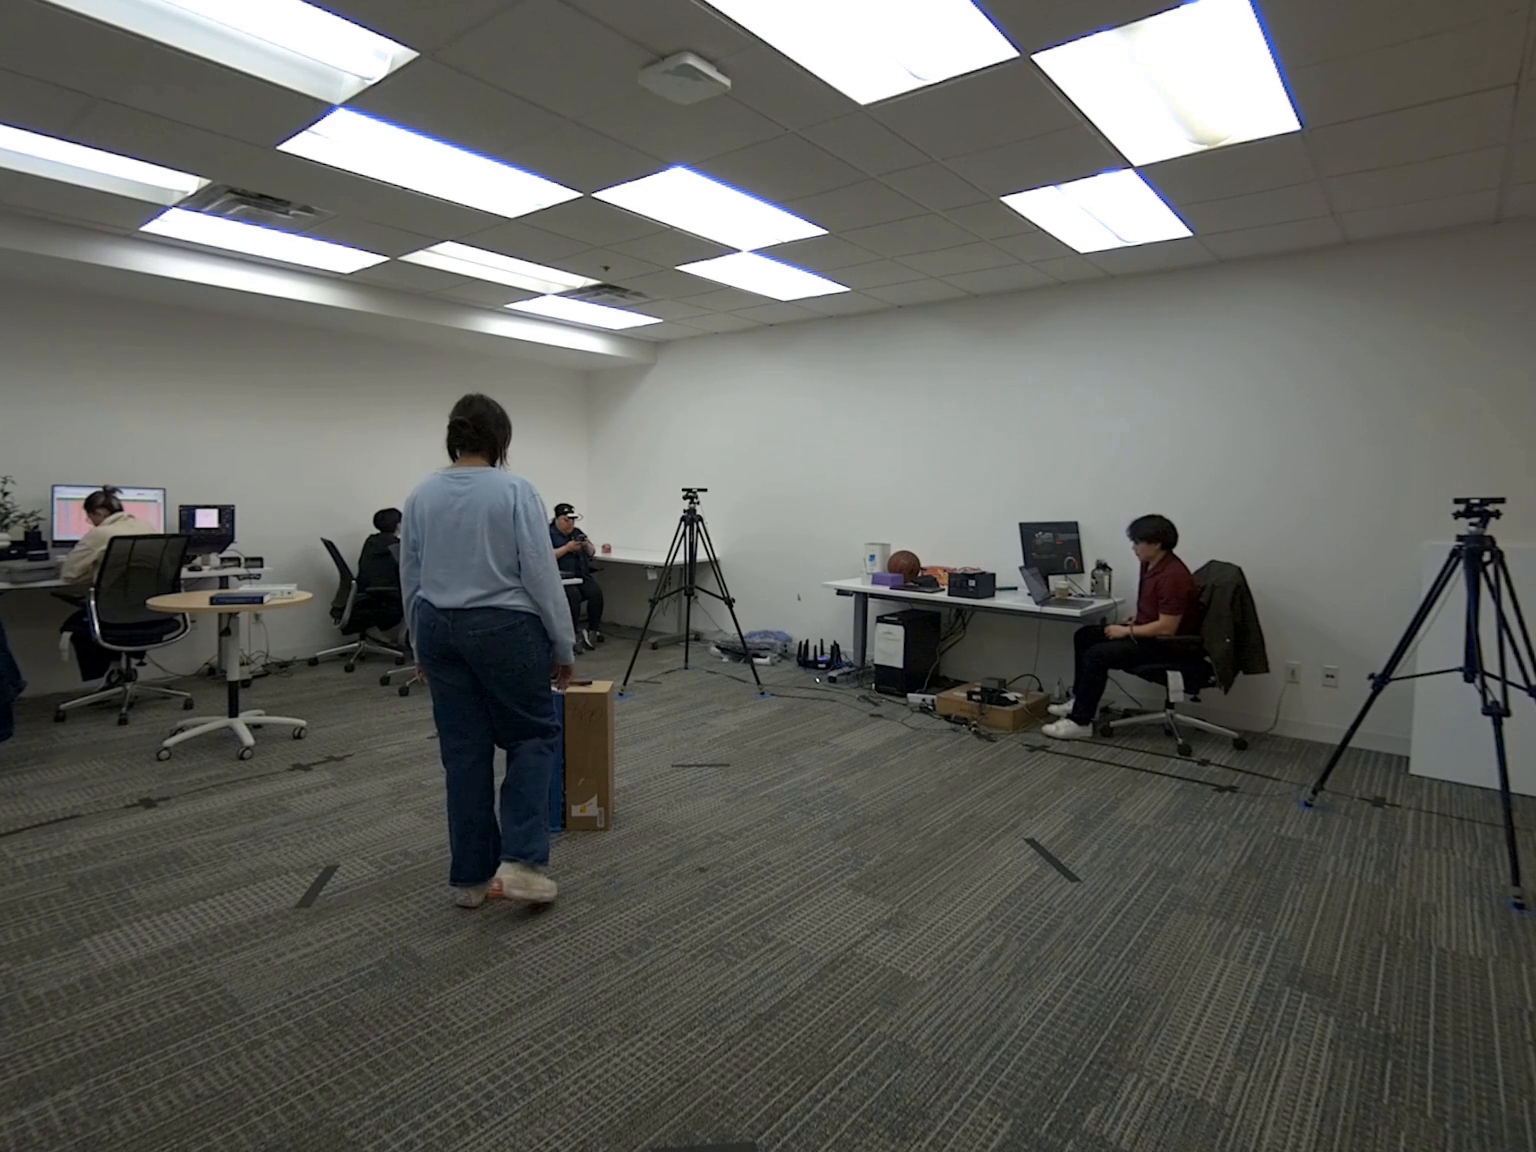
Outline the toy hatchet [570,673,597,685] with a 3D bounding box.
[{"bbox_3d":[-0.876,0.437,3.570,0.265,0.029,0.133,1,0,-20],"label":"toy hatchet"}]
